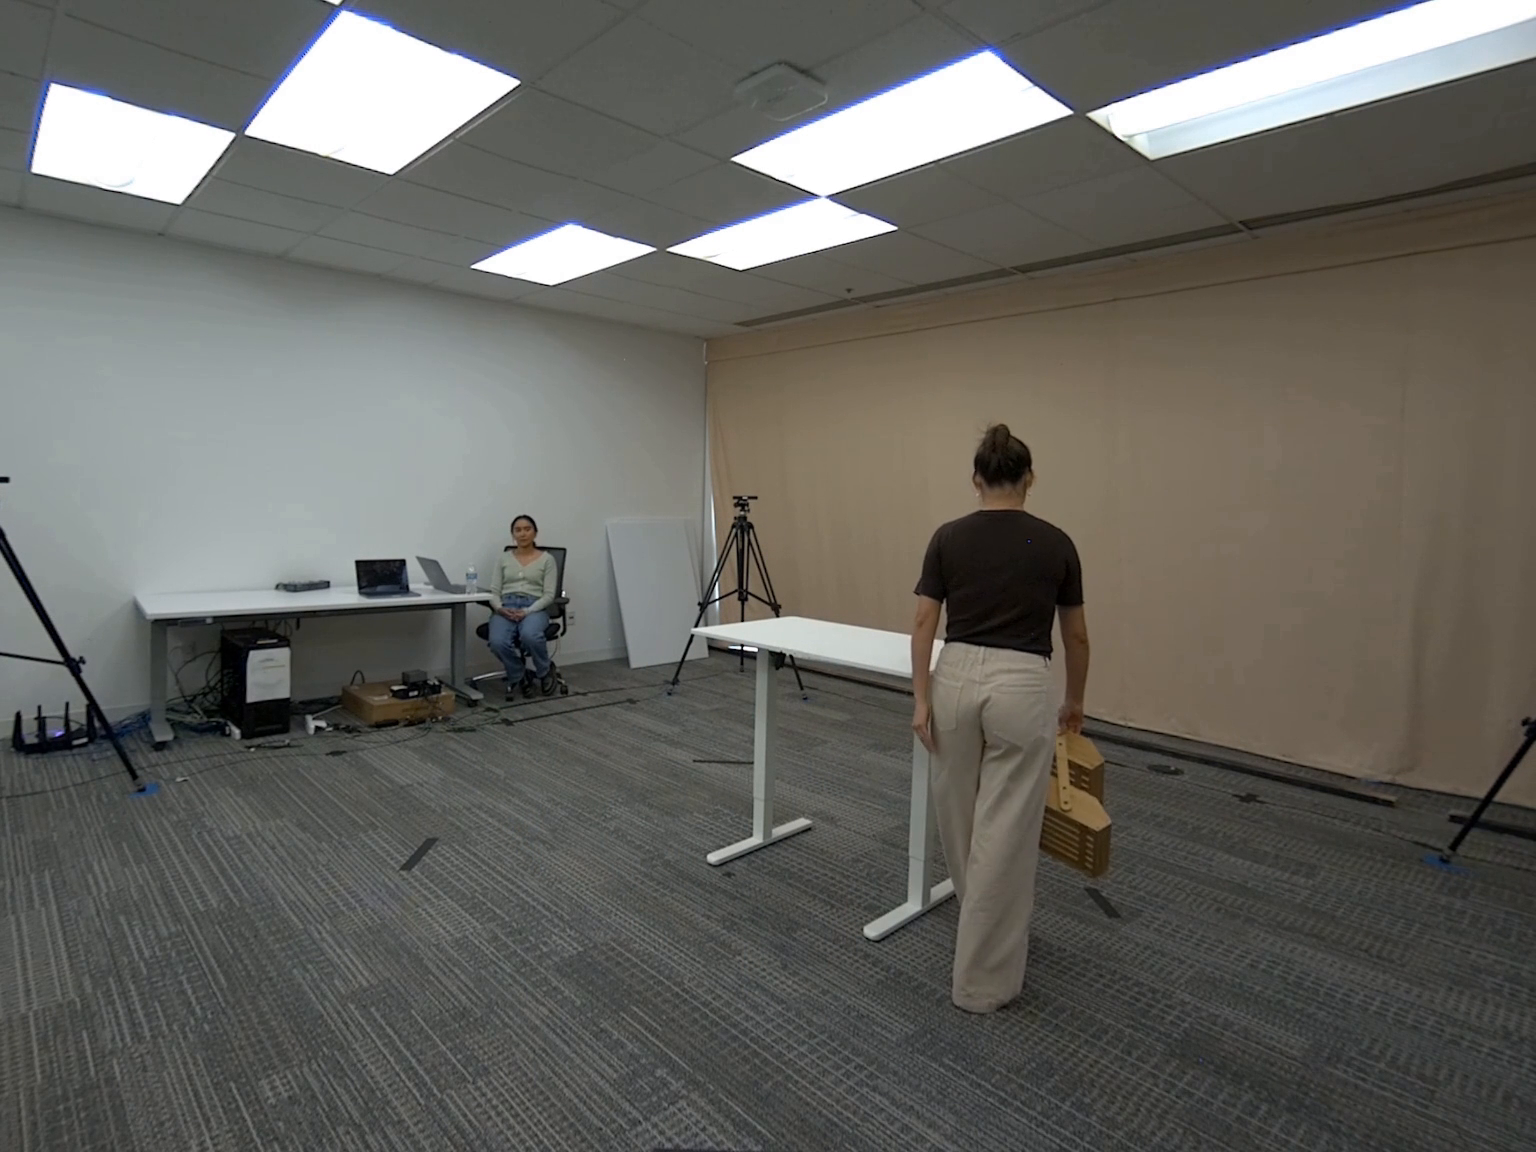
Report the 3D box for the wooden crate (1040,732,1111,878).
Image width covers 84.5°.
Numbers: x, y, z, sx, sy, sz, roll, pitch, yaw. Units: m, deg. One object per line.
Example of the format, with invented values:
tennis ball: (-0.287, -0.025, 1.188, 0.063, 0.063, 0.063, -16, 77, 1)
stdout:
wooden crate: (0.930, 0.669, 2.570, 0.311, 0.315, 0.273, 20, 57, 36)
